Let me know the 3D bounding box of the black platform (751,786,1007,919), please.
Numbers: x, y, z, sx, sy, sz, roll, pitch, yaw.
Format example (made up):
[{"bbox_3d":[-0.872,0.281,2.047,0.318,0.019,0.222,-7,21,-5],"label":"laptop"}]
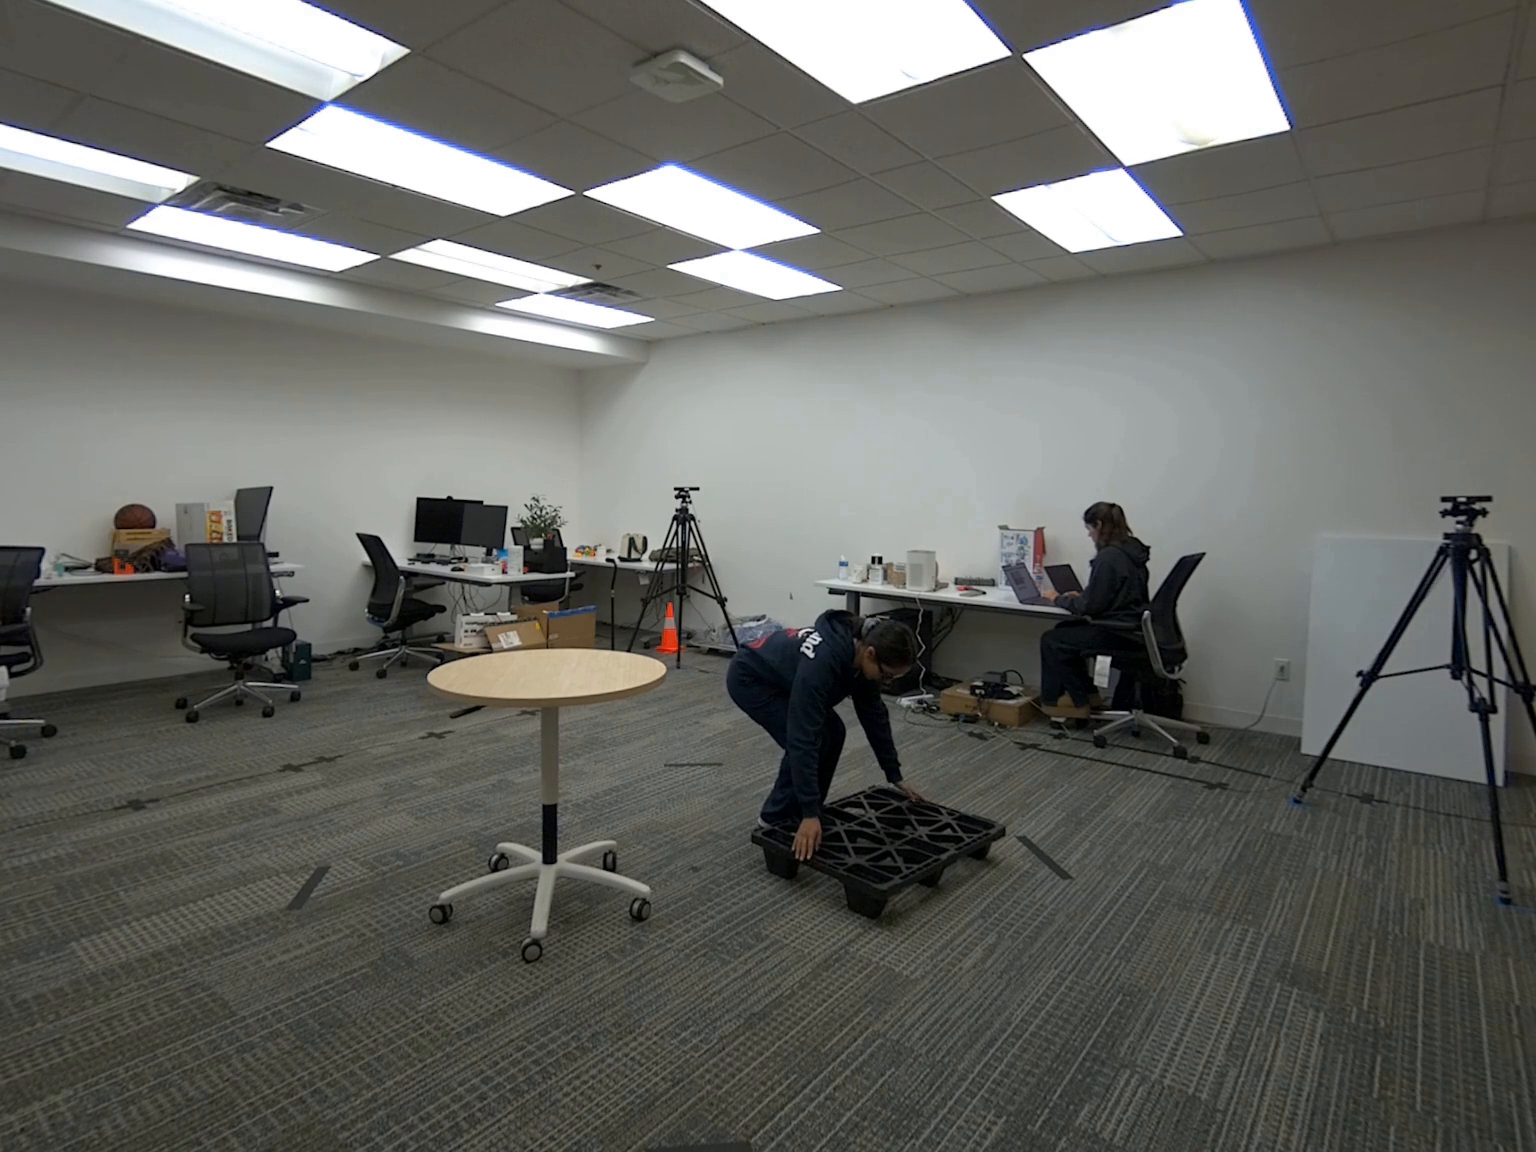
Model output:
[{"bbox_3d":[0.404,1.005,3.177,0.626,0.143,0.781,6,7,45],"label":"black platform"}]
